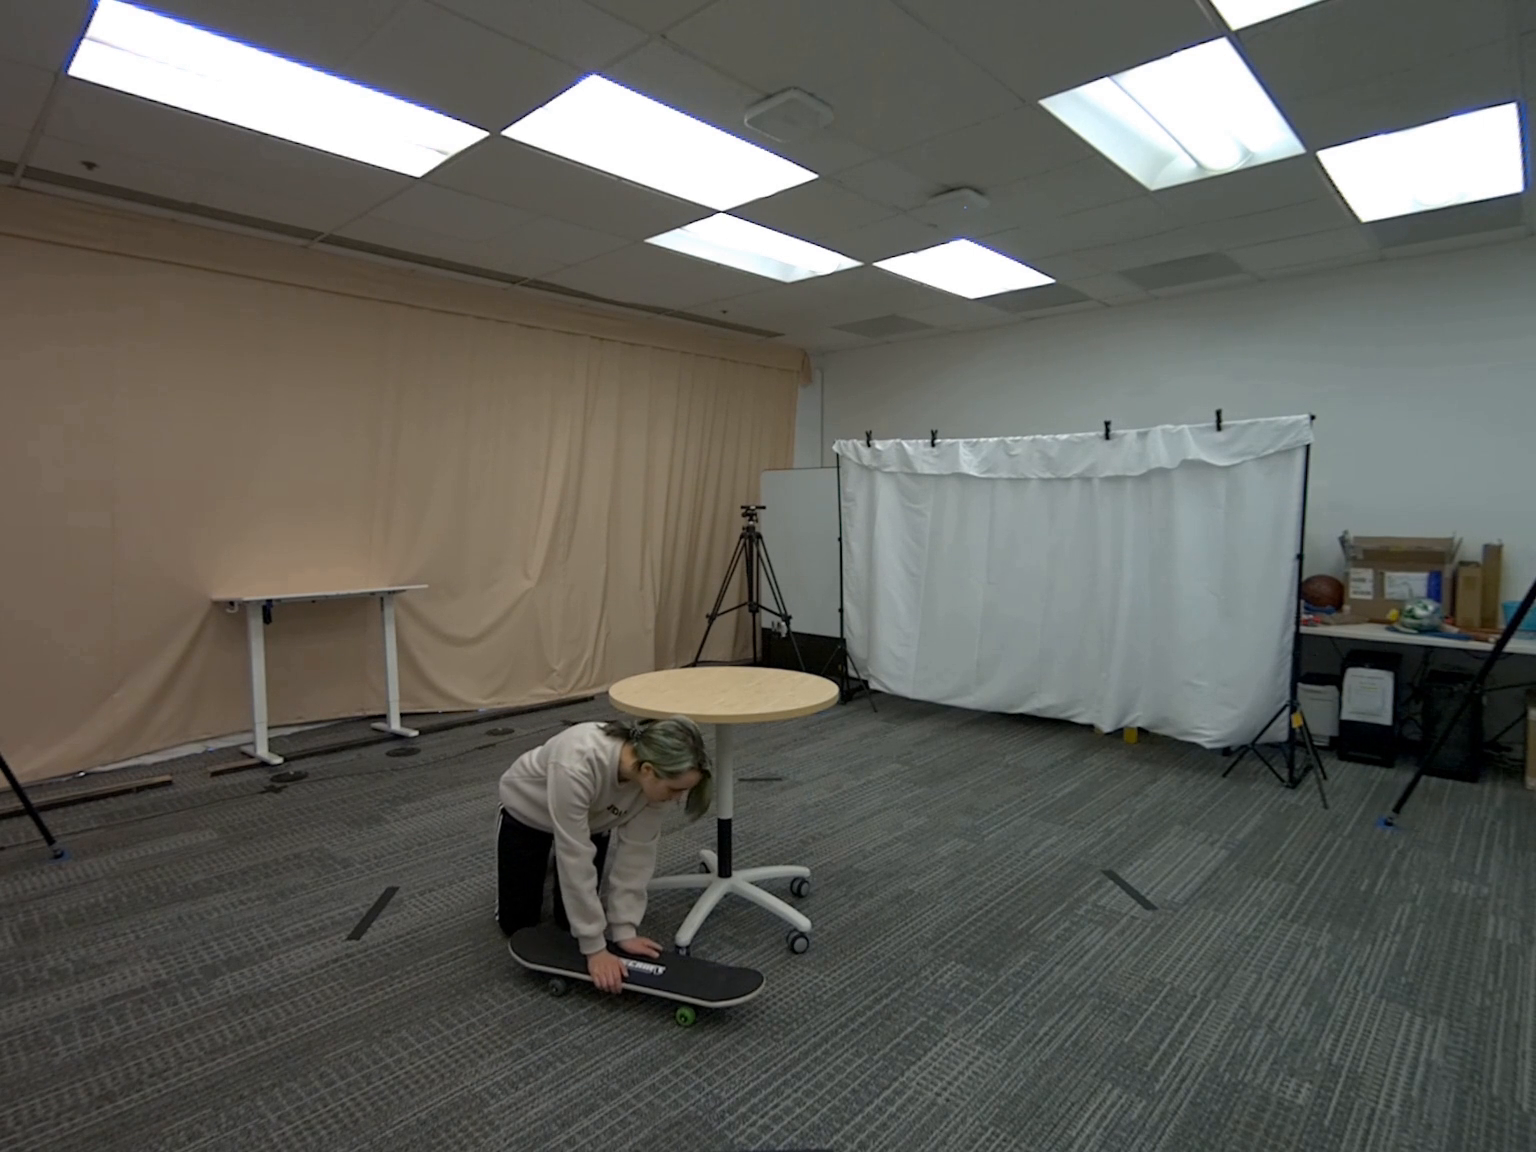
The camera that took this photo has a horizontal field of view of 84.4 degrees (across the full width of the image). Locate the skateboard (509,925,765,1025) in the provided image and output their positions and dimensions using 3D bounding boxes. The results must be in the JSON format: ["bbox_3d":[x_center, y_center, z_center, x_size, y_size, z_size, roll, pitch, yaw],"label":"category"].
[{"bbox_3d":[-0.379,1.129,2.404,0.802,0.110,0.190,1,4,20],"label":"skateboard"}]
